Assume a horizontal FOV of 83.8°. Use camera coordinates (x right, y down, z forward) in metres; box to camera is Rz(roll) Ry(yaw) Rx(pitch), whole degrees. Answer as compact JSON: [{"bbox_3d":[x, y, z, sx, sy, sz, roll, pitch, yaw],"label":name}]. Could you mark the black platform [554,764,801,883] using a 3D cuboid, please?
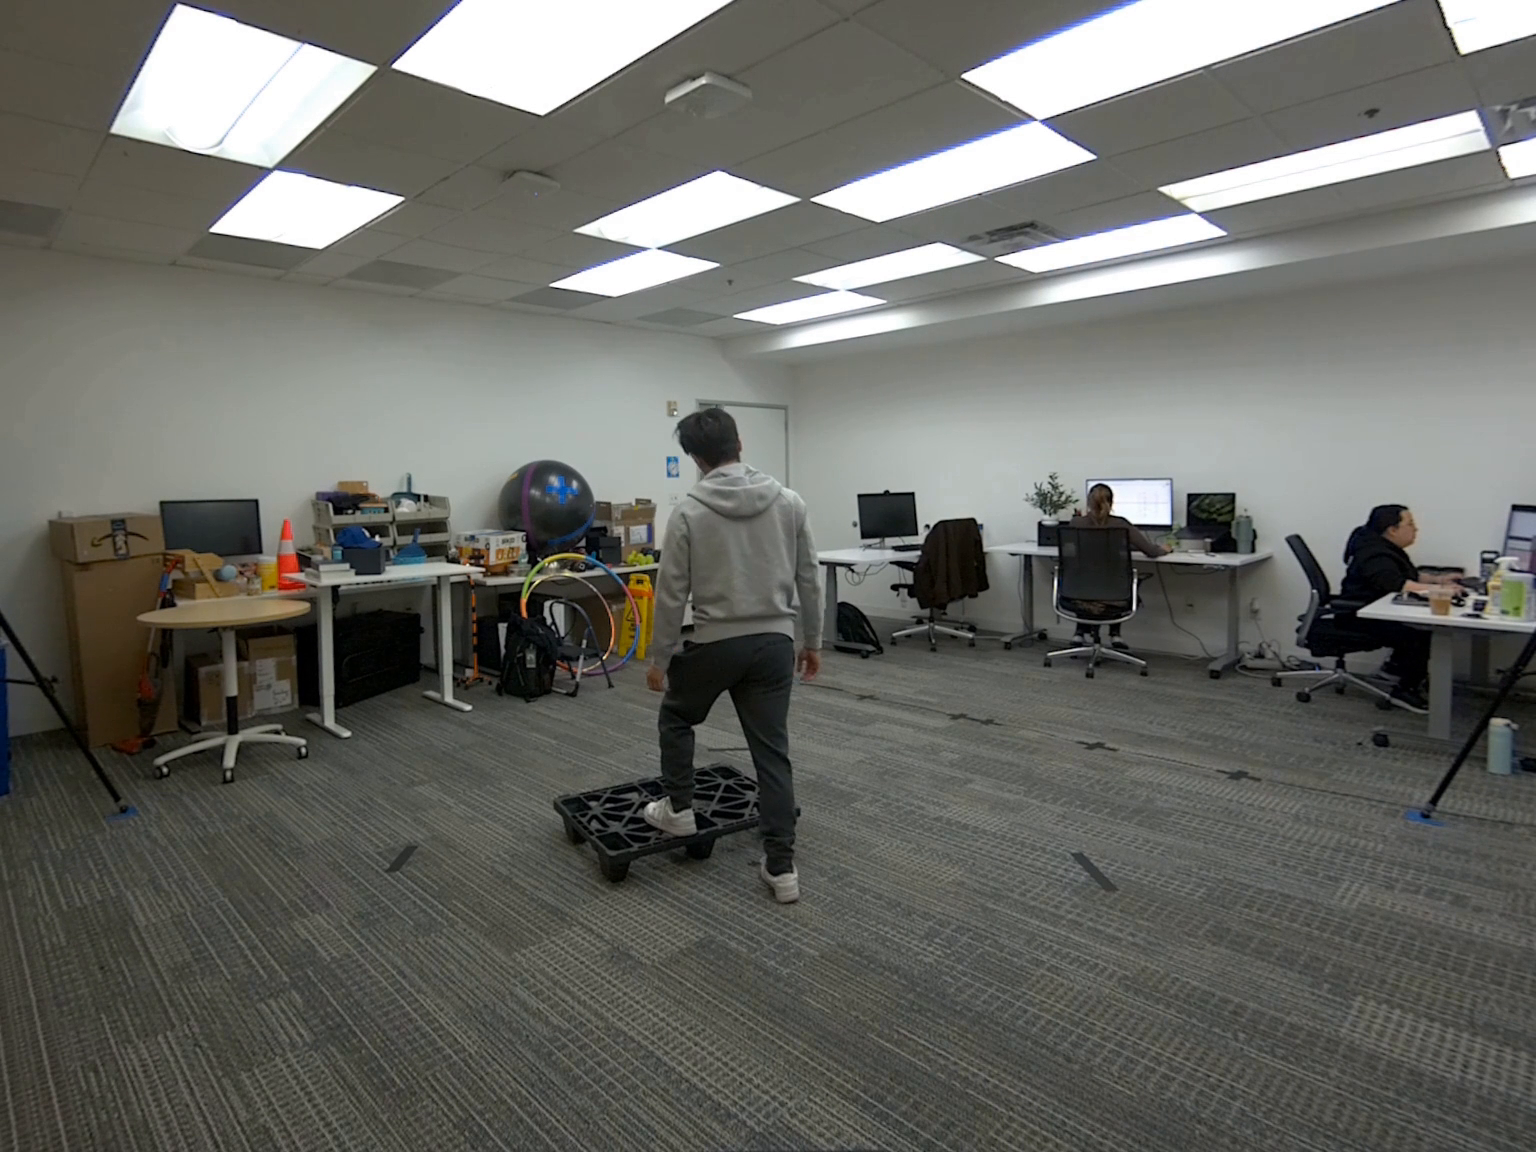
[{"bbox_3d":[-0.354,0.954,3.348,0.787,0.142,0.623,-5,9,-31],"label":"black platform"}]
